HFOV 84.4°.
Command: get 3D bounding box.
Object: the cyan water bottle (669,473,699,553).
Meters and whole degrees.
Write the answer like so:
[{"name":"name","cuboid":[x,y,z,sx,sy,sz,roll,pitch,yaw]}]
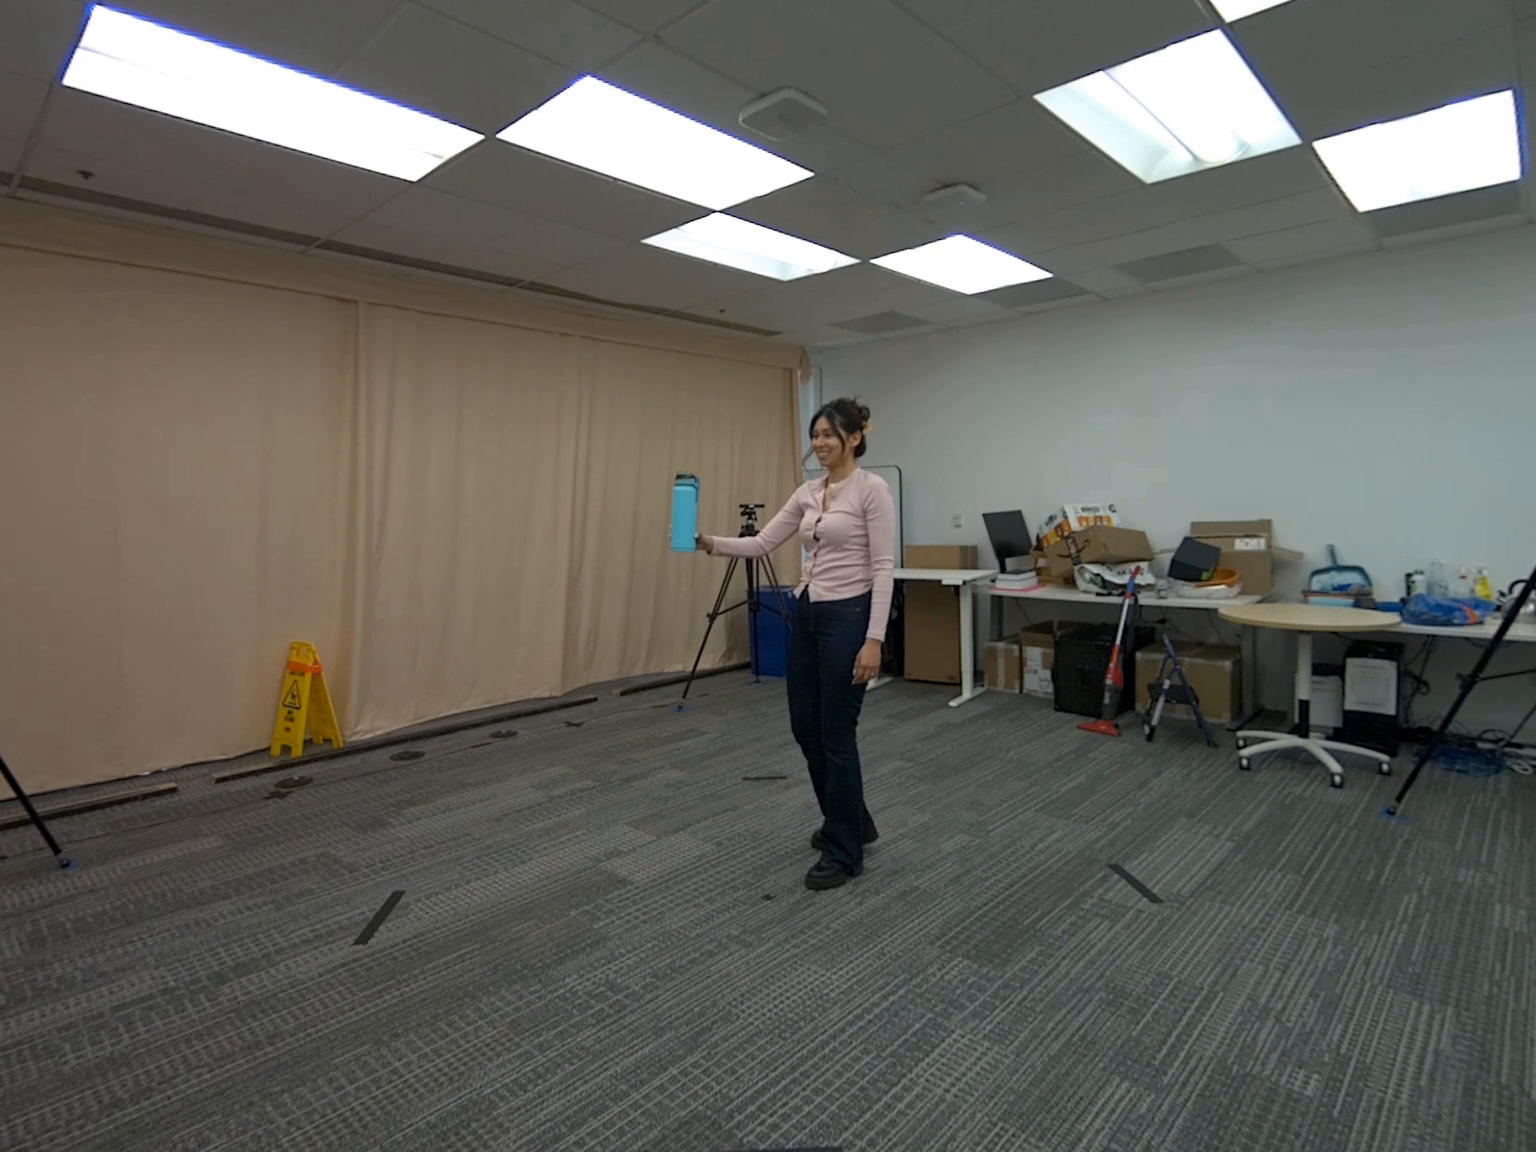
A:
[{"name":"cyan water bottle","cuboid":[-0.287,-0.233,2.982,0.092,0.284,0.092,4,-2,-2]}]
